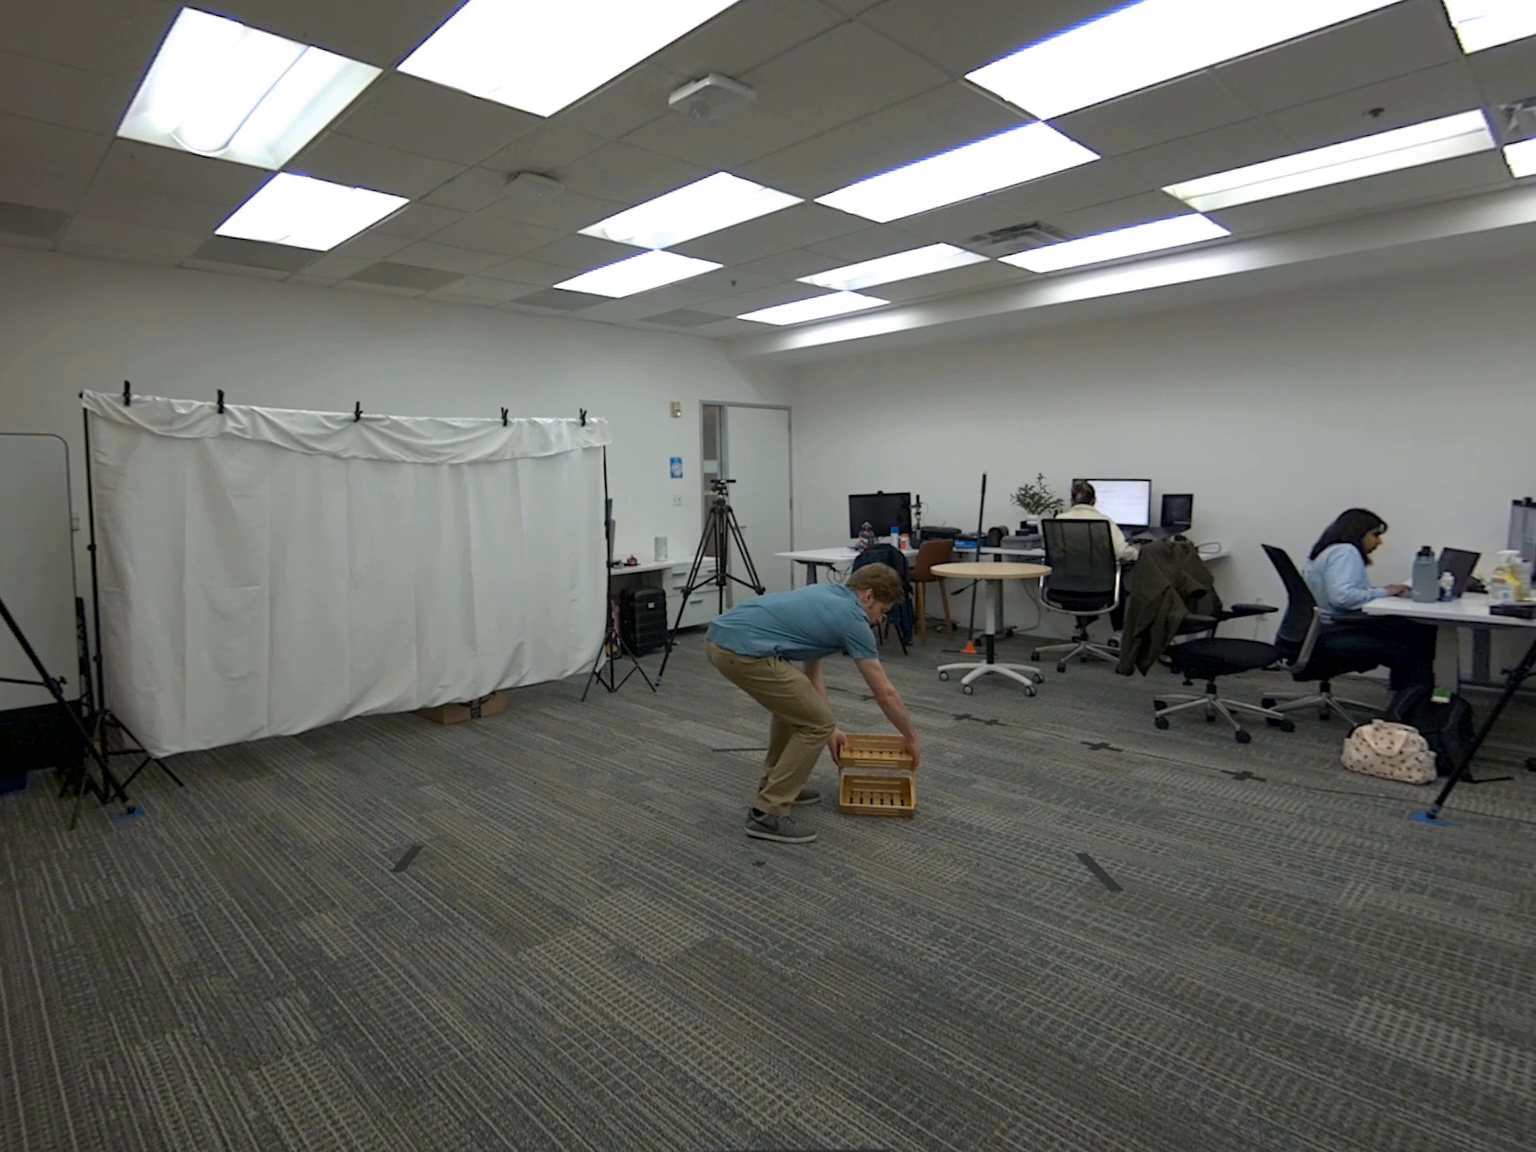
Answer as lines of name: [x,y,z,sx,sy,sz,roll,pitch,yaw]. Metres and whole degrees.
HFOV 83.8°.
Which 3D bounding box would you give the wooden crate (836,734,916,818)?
wooden crate: [0.465,0.845,3.651,0.327,0.273,0.300,0,3,8]
